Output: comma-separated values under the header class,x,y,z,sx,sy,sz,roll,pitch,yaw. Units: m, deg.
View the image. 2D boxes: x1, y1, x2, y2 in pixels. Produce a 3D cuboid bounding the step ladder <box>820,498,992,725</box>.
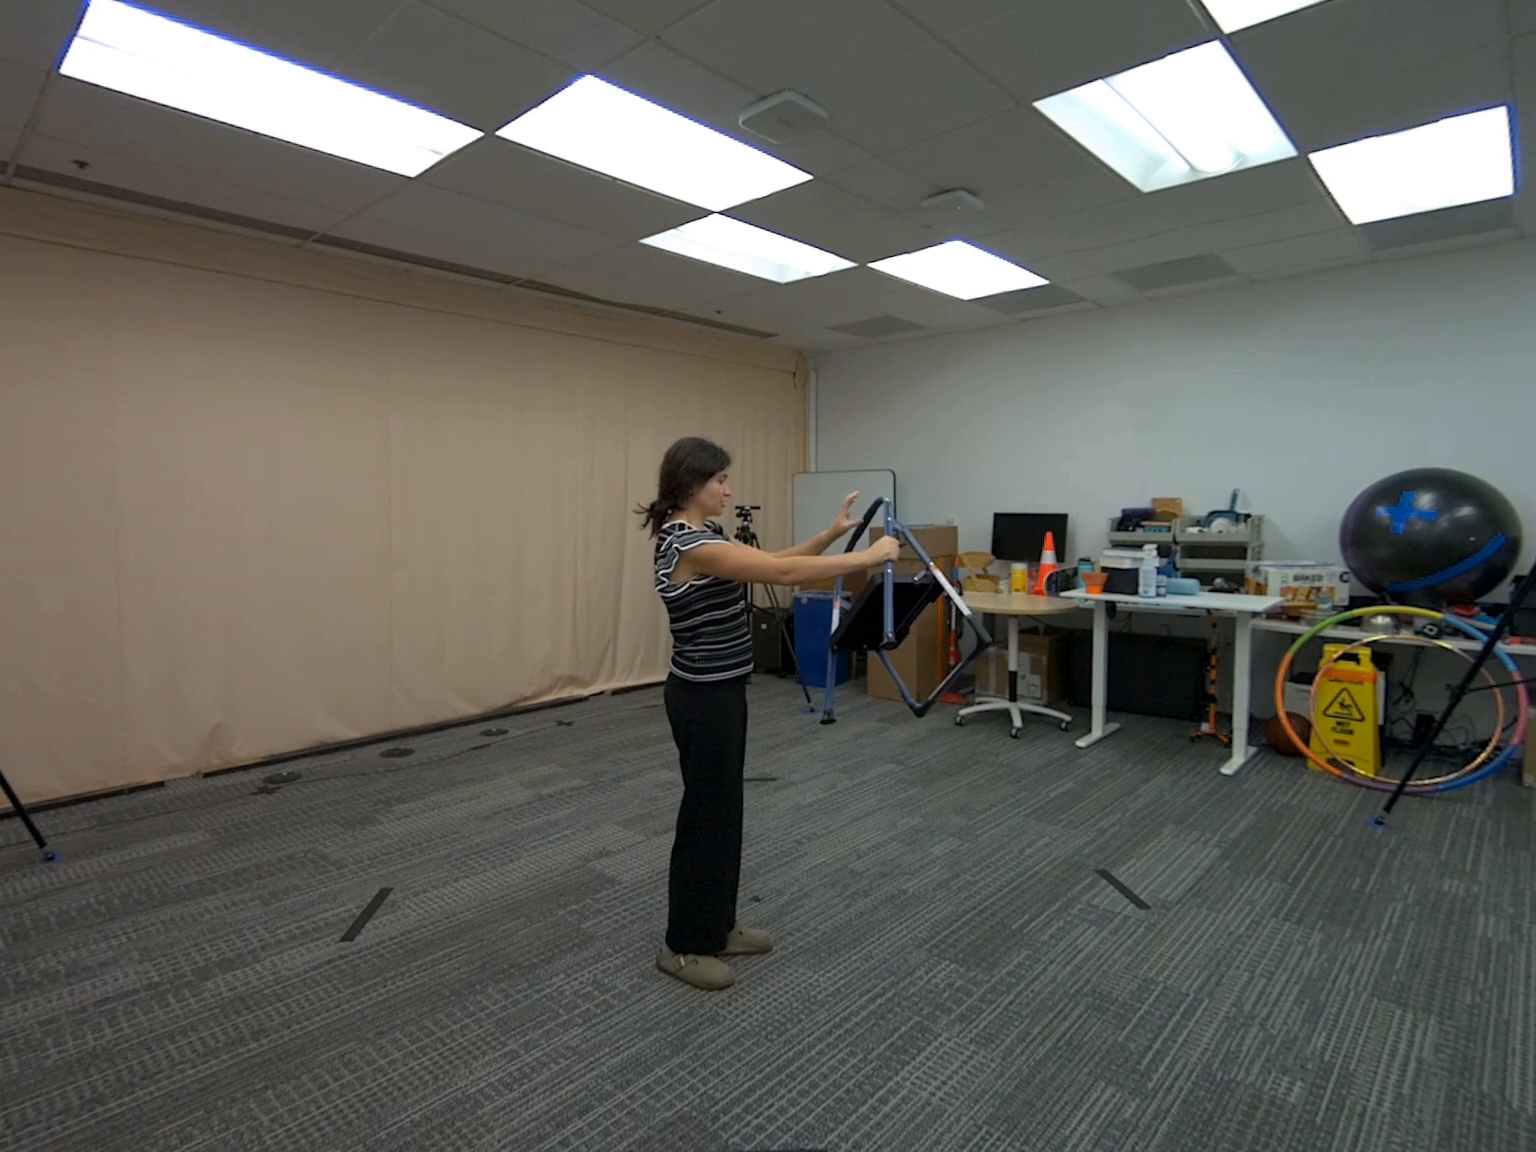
class,x,y,z,sx,sy,sz,roll,pitch,yaw
step ladder,0.341,0.079,2.493,0.341,0.621,0.430,2,-38,-24
